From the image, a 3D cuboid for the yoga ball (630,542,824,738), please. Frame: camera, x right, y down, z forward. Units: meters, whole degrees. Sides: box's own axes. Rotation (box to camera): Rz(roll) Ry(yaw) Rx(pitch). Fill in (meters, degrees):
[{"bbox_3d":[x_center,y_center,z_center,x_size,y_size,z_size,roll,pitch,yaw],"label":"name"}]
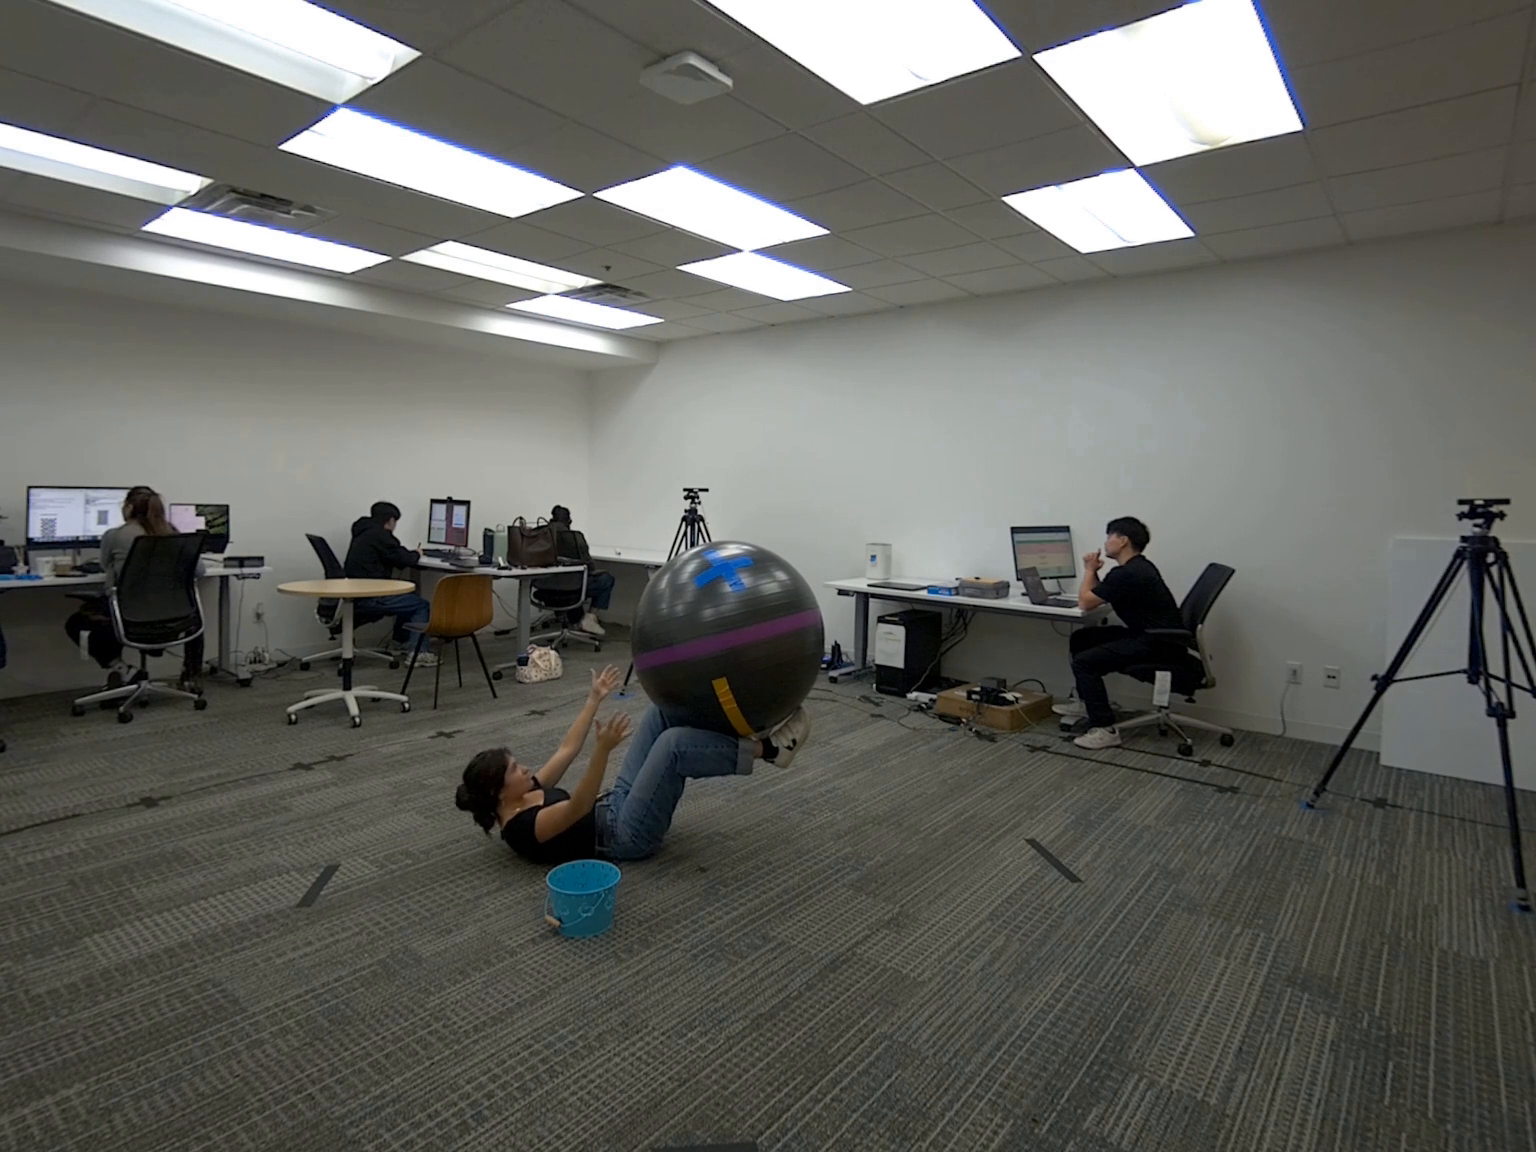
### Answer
[{"bbox_3d":[-0.167,0.245,3.325,0.757,0.756,0.761,1,4,-2],"label":"yoga ball"}]
